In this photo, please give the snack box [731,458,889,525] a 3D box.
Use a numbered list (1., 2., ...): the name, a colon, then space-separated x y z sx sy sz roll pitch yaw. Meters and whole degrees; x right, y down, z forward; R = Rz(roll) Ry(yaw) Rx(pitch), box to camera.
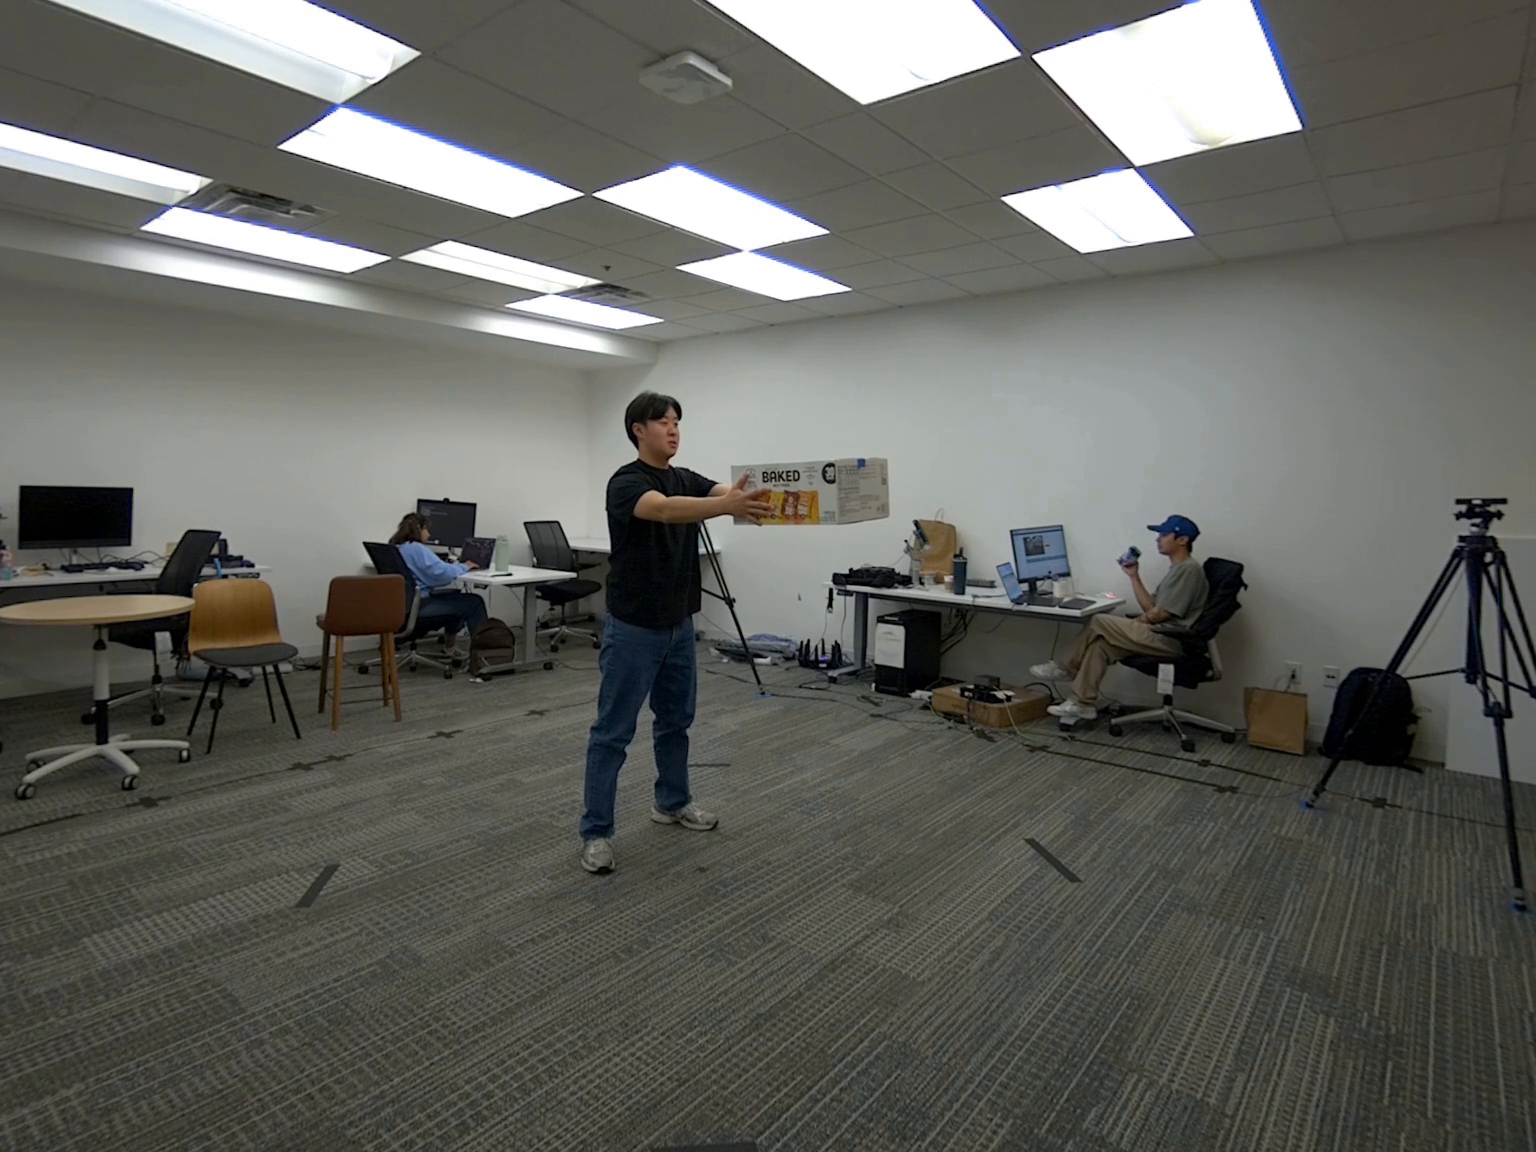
1. snack box: 0.132 -0.288 2.855 0.418 0.204 0.332 2 8 37
